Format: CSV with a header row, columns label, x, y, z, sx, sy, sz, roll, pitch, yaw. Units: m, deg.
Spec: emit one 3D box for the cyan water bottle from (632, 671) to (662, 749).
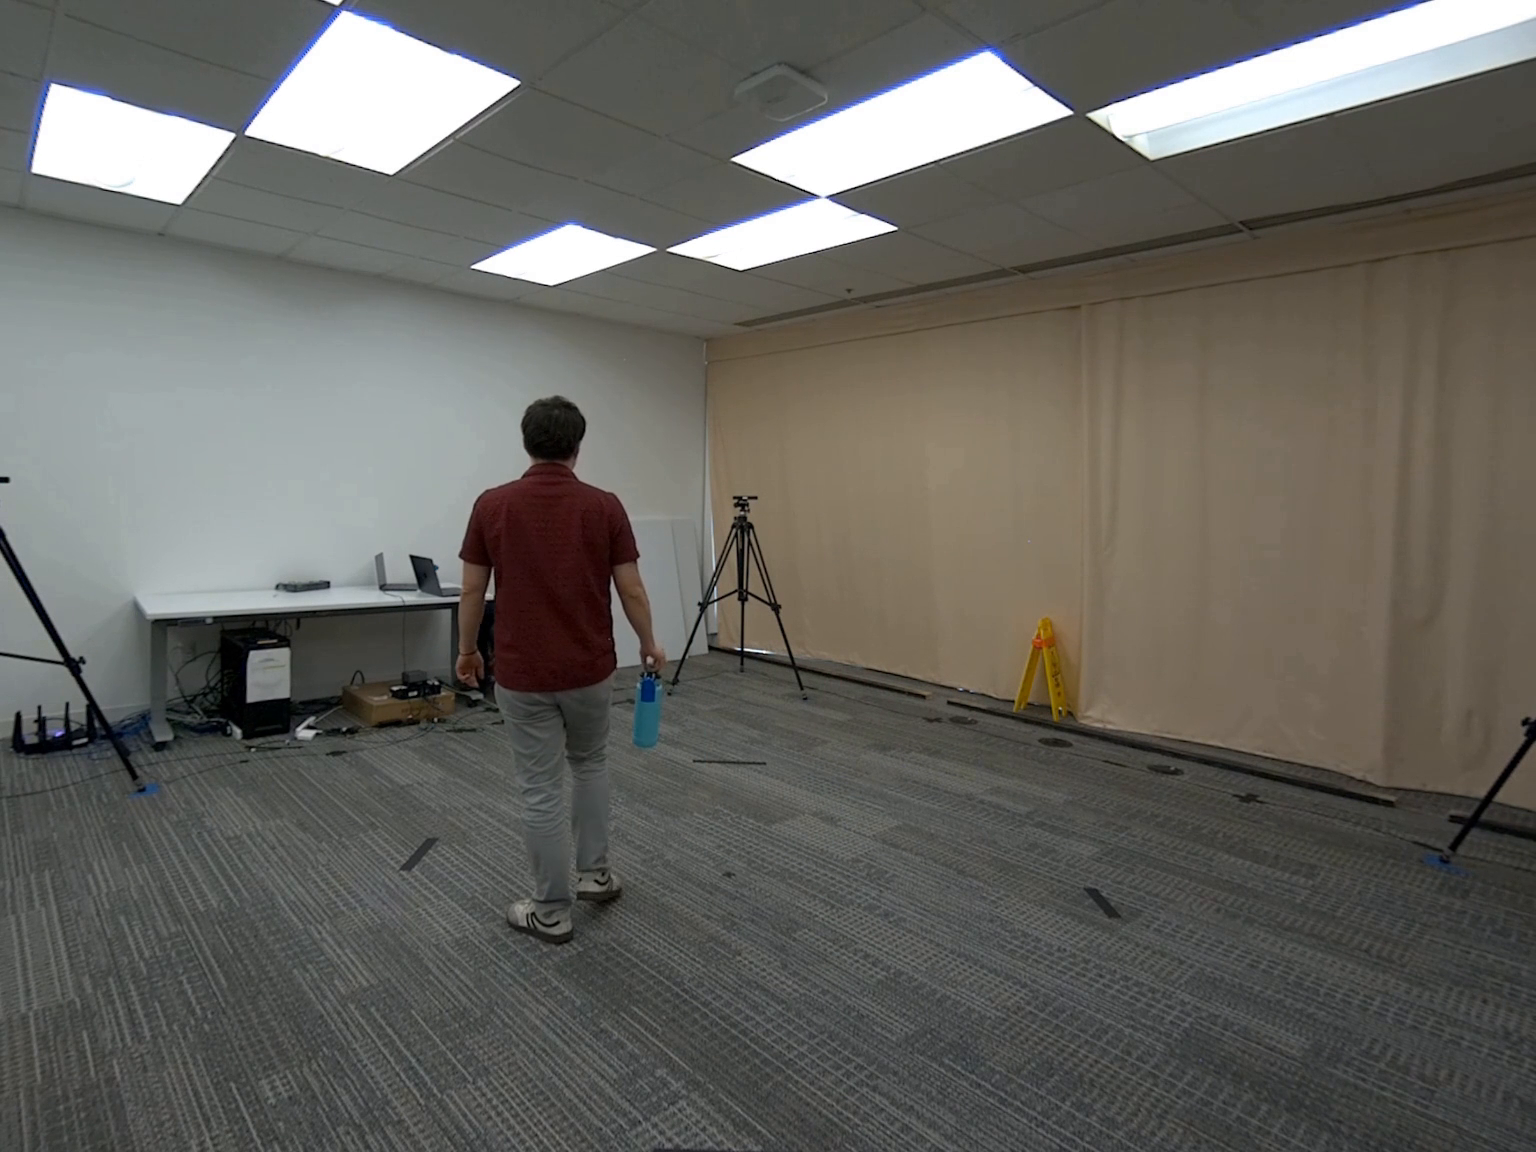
label,x,y,z,sx,sy,sz,roll,pitch,yaw
cyan water bottle,-0.430,0.466,2.936,0.092,0.281,0.093,8,15,-4
